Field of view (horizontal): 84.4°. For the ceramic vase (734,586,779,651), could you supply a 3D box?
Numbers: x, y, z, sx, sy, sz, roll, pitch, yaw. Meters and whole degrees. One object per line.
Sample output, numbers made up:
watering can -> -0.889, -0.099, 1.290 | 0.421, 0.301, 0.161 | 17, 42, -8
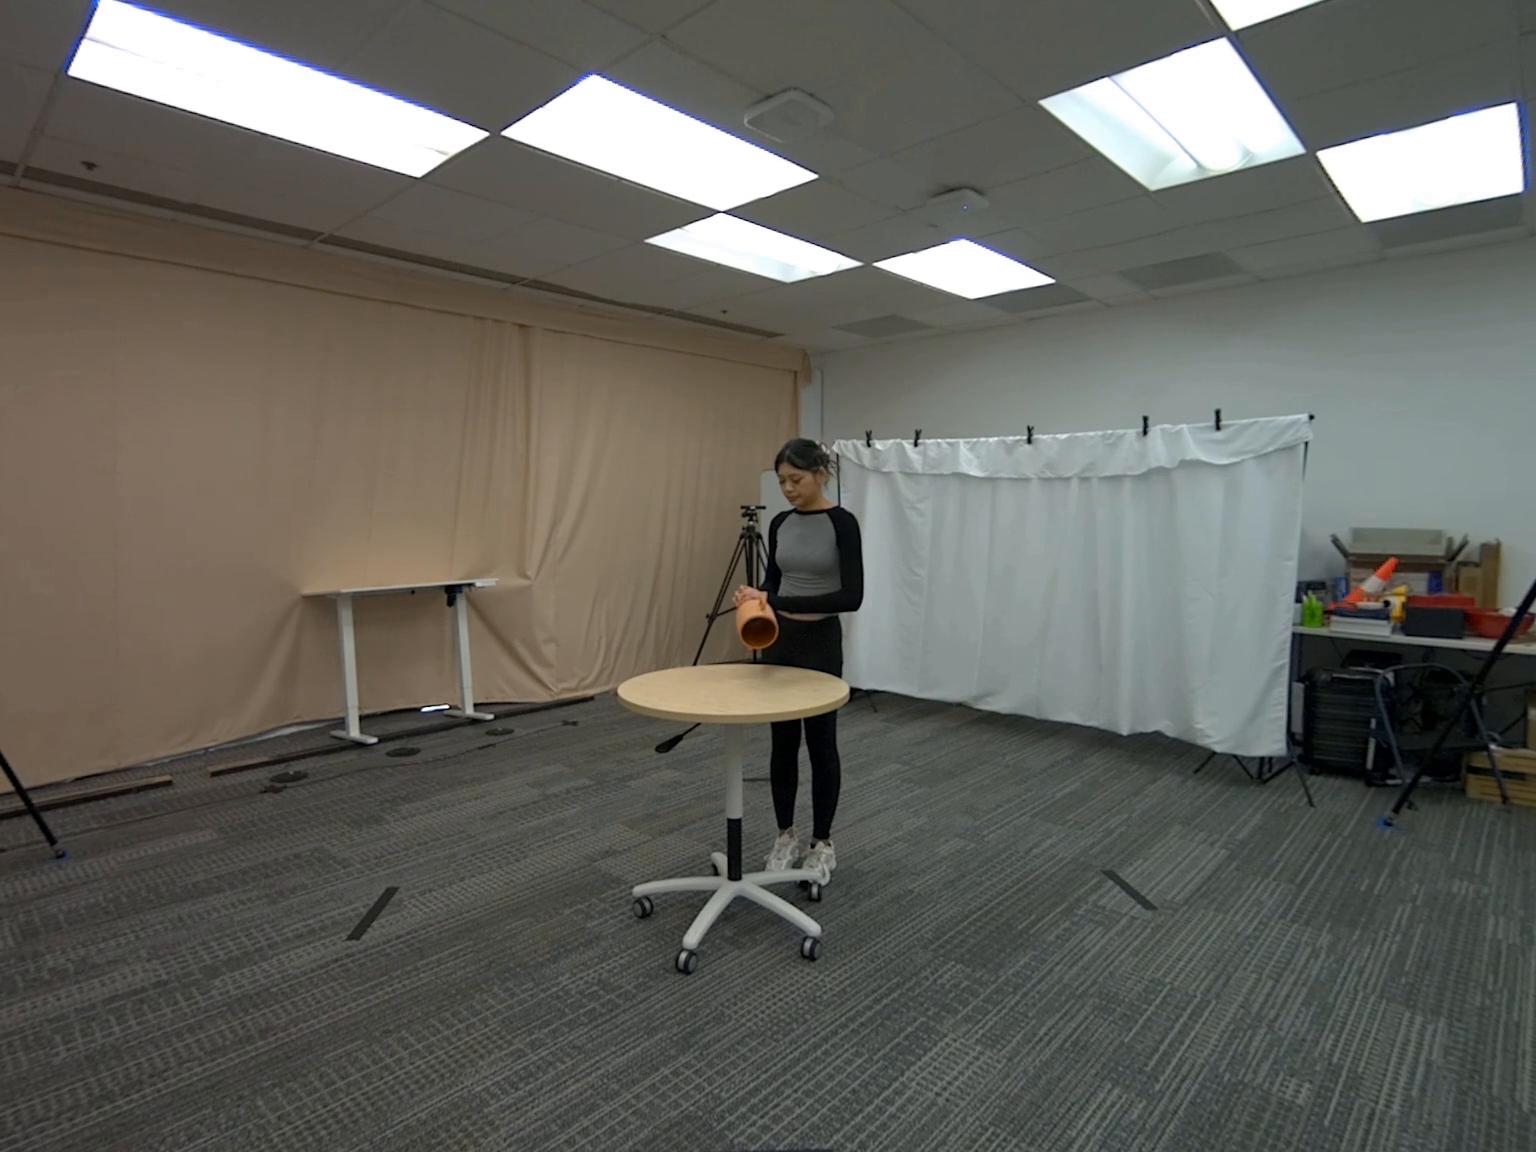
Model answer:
ceramic vase -> -0.043, 0.136, 2.899 | 0.160, 0.131, 0.223 | -32, 23, 12
